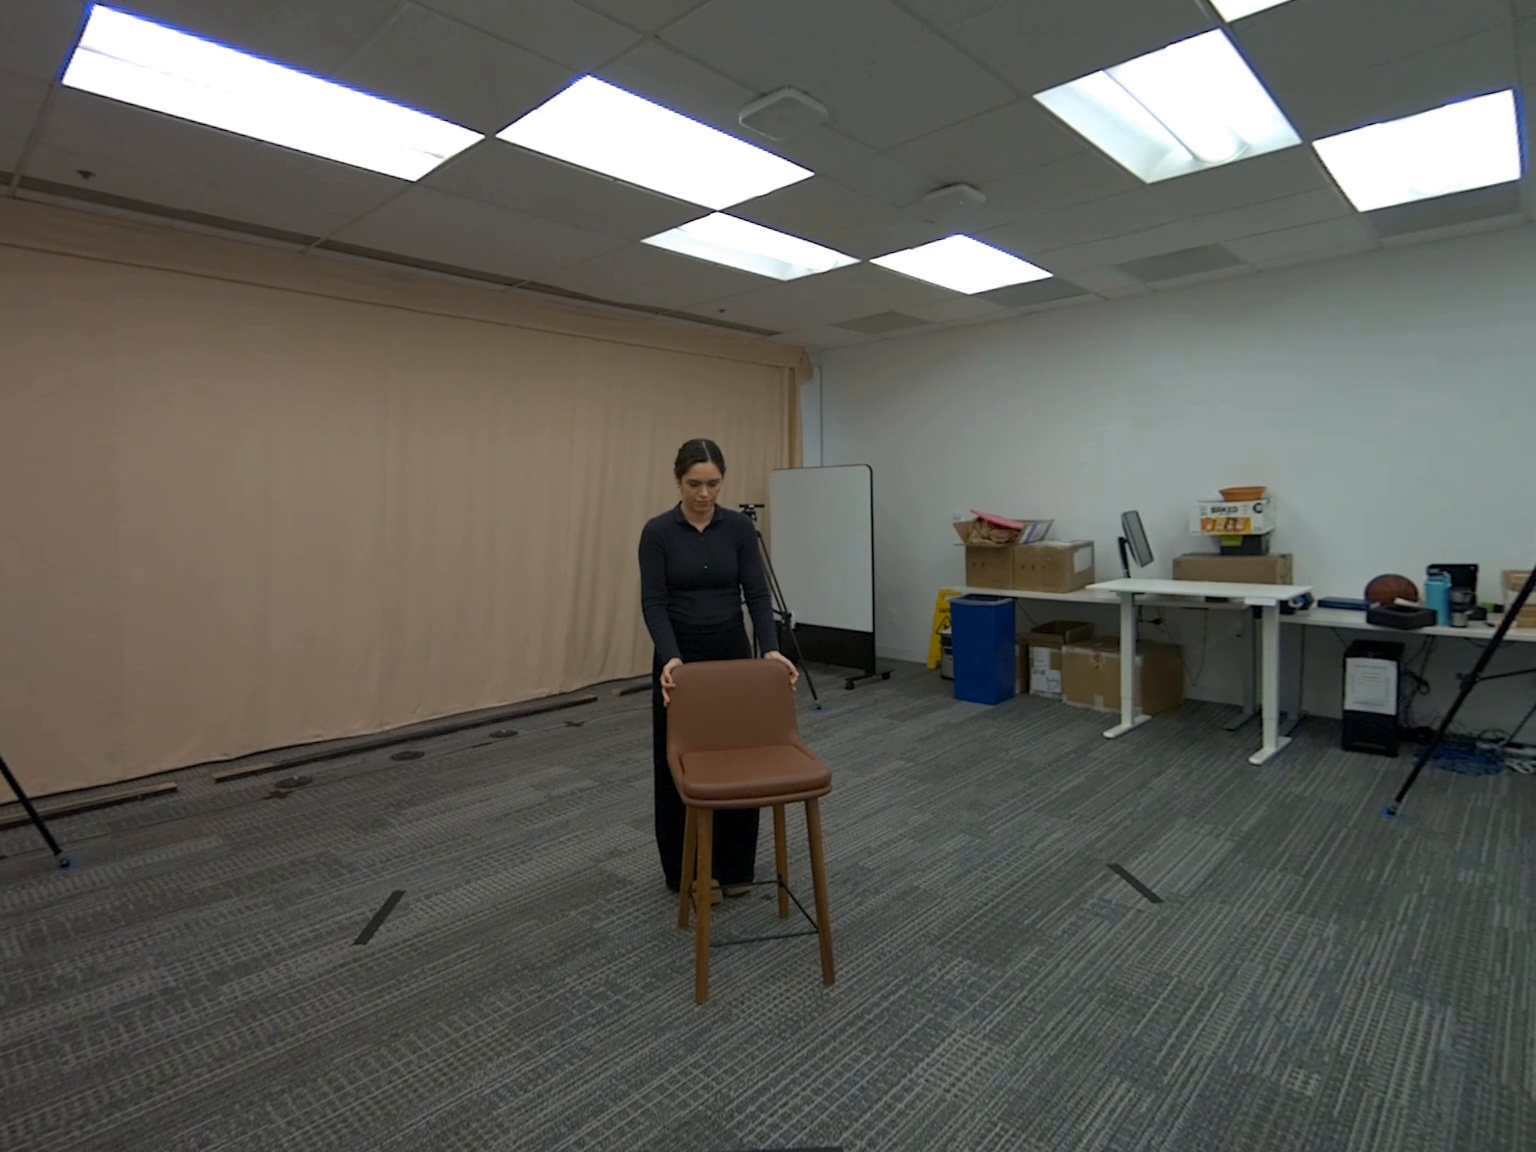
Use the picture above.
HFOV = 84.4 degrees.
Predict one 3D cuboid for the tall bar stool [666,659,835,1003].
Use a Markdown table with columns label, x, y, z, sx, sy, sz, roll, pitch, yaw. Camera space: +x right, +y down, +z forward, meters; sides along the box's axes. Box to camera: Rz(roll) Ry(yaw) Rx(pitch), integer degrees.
| label | x | y | z | sx | sy | sz | roll | pitch | yaw |
| --- | --- | --- | --- | --- | --- | --- | --- | --- | --- |
| tall bar stool | -0.065 | 0.733 | 2.598 | 0.450 | 0.889 | 0.474 | -2 | 1 | -14 |
